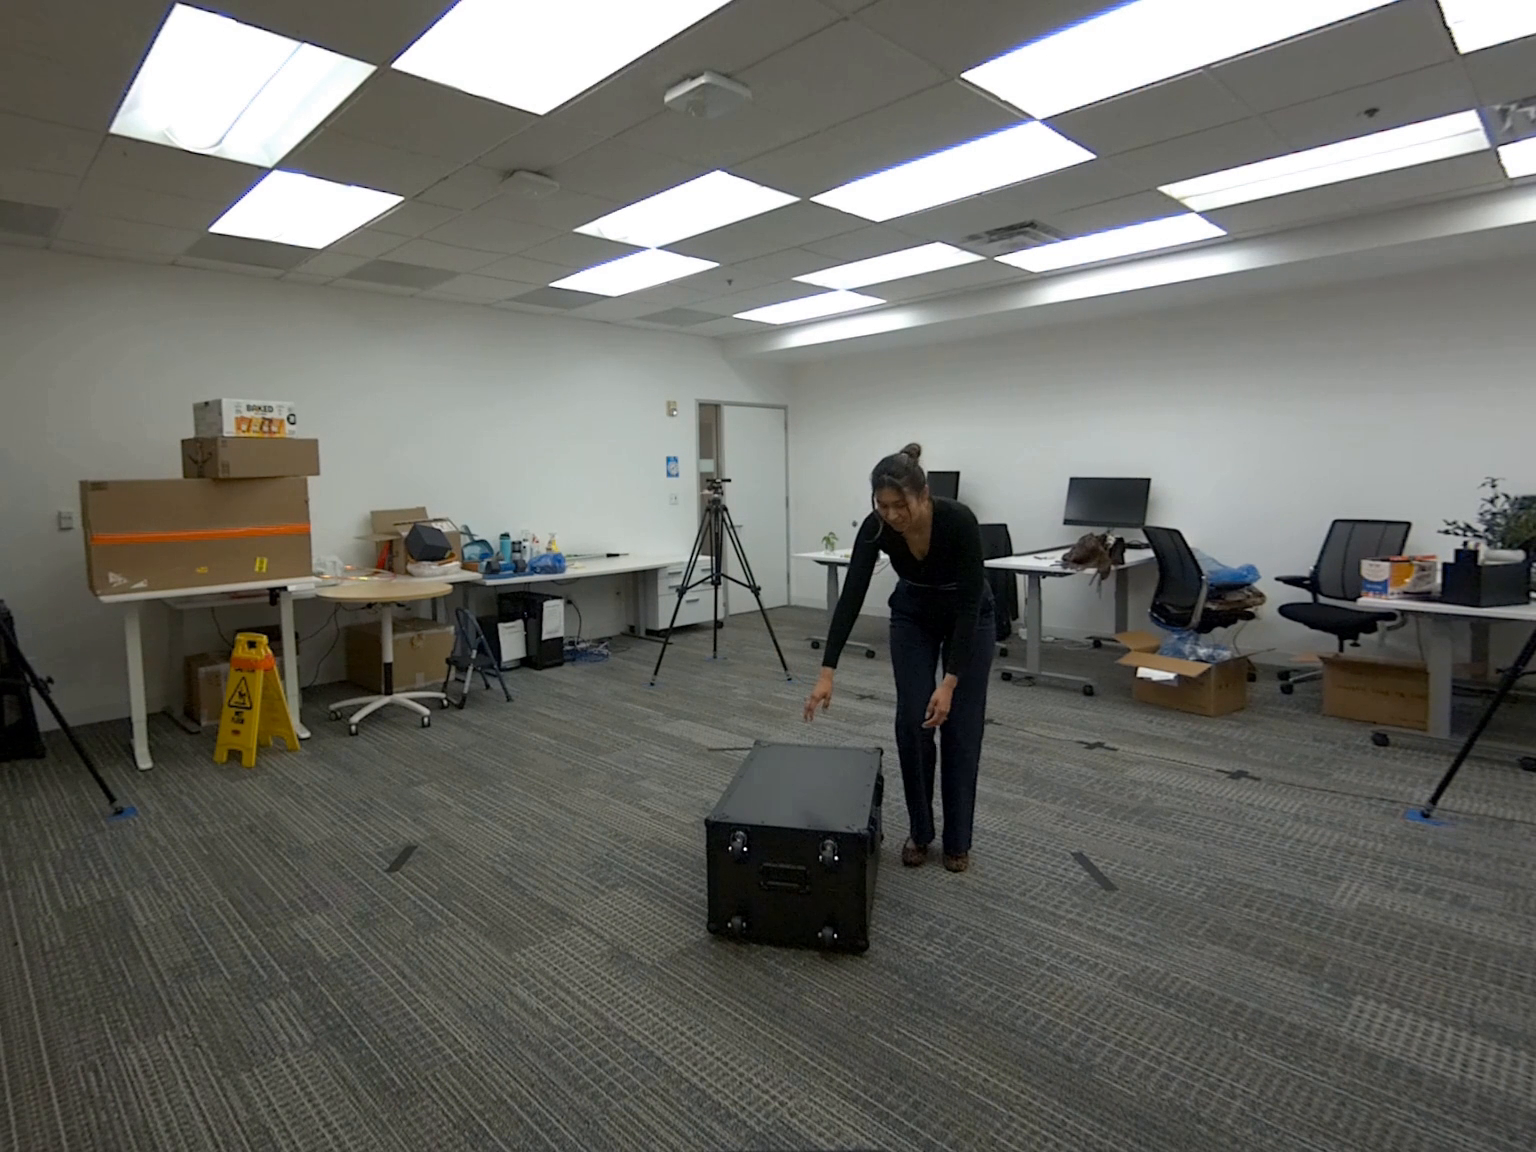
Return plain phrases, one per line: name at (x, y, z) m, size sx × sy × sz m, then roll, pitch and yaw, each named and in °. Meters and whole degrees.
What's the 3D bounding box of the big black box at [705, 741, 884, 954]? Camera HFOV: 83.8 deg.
big black box at (0.110, 0.875, 2.863) m, size 0.528 × 0.395 × 0.854 m, roll 0°, pitch 6°, yaw 12°
